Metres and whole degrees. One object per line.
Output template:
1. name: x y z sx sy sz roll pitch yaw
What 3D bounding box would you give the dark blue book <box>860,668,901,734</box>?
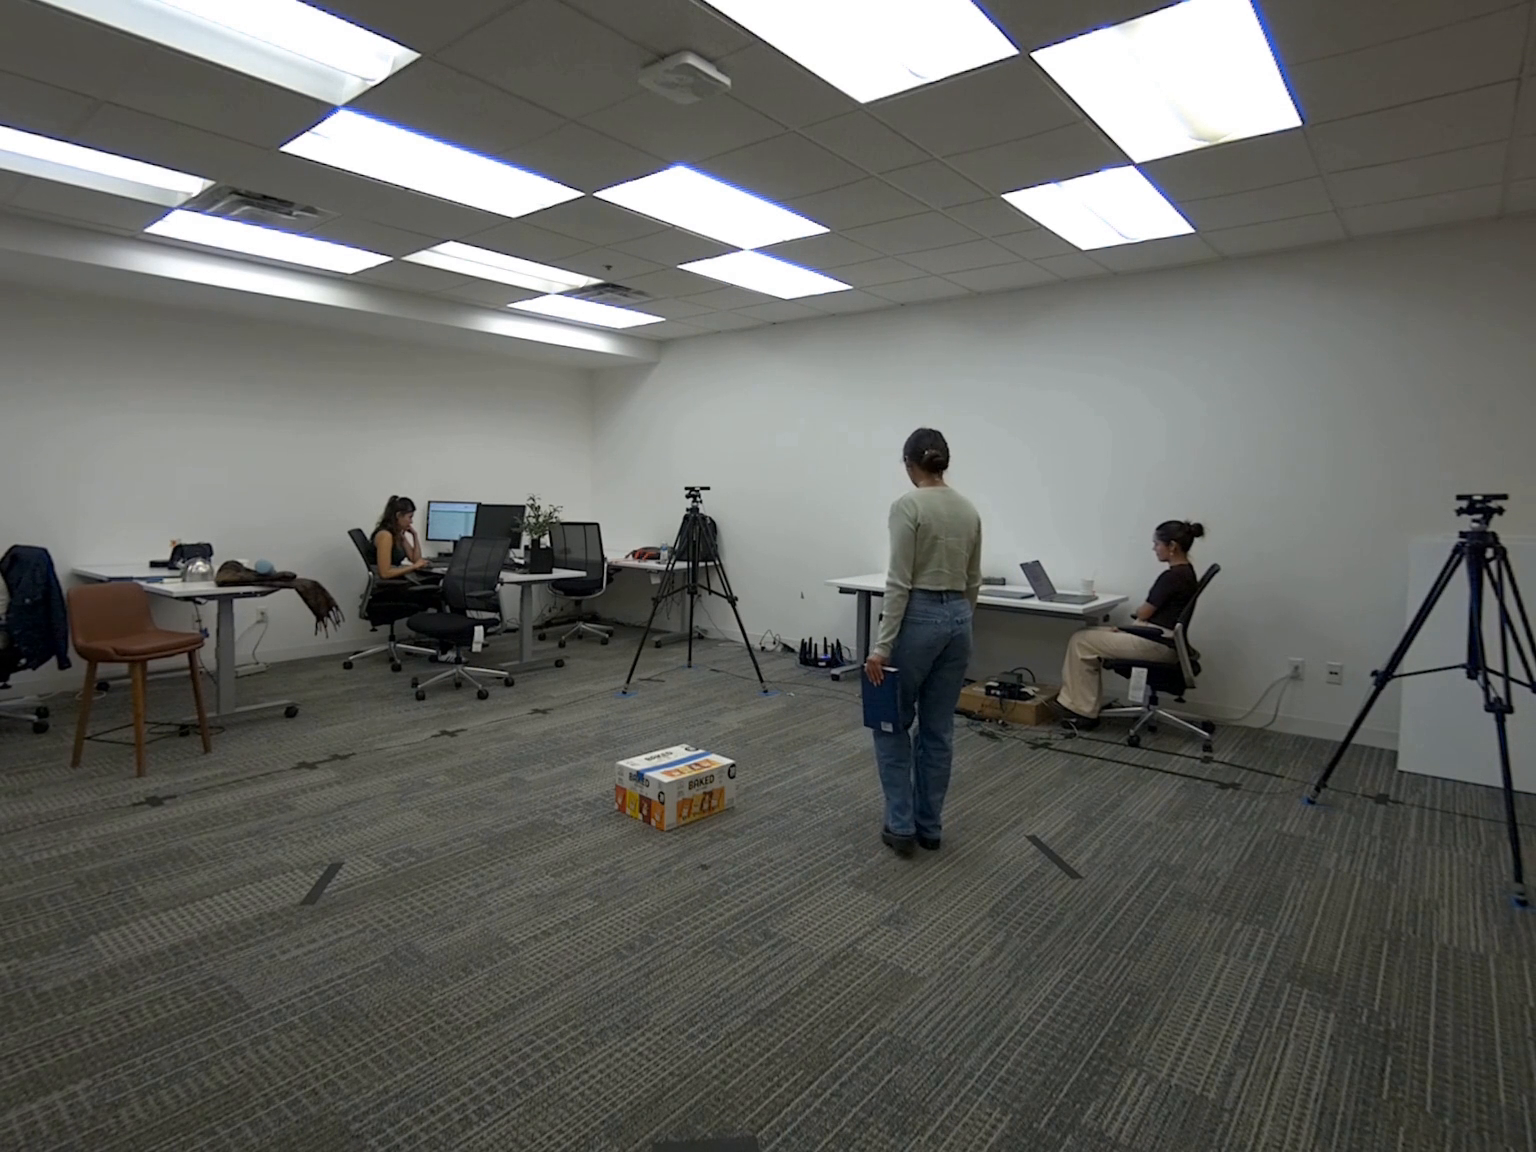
1. dark blue book: 0.419 0.458 3.205 0.044 0.244 0.169 -6 7 -37
